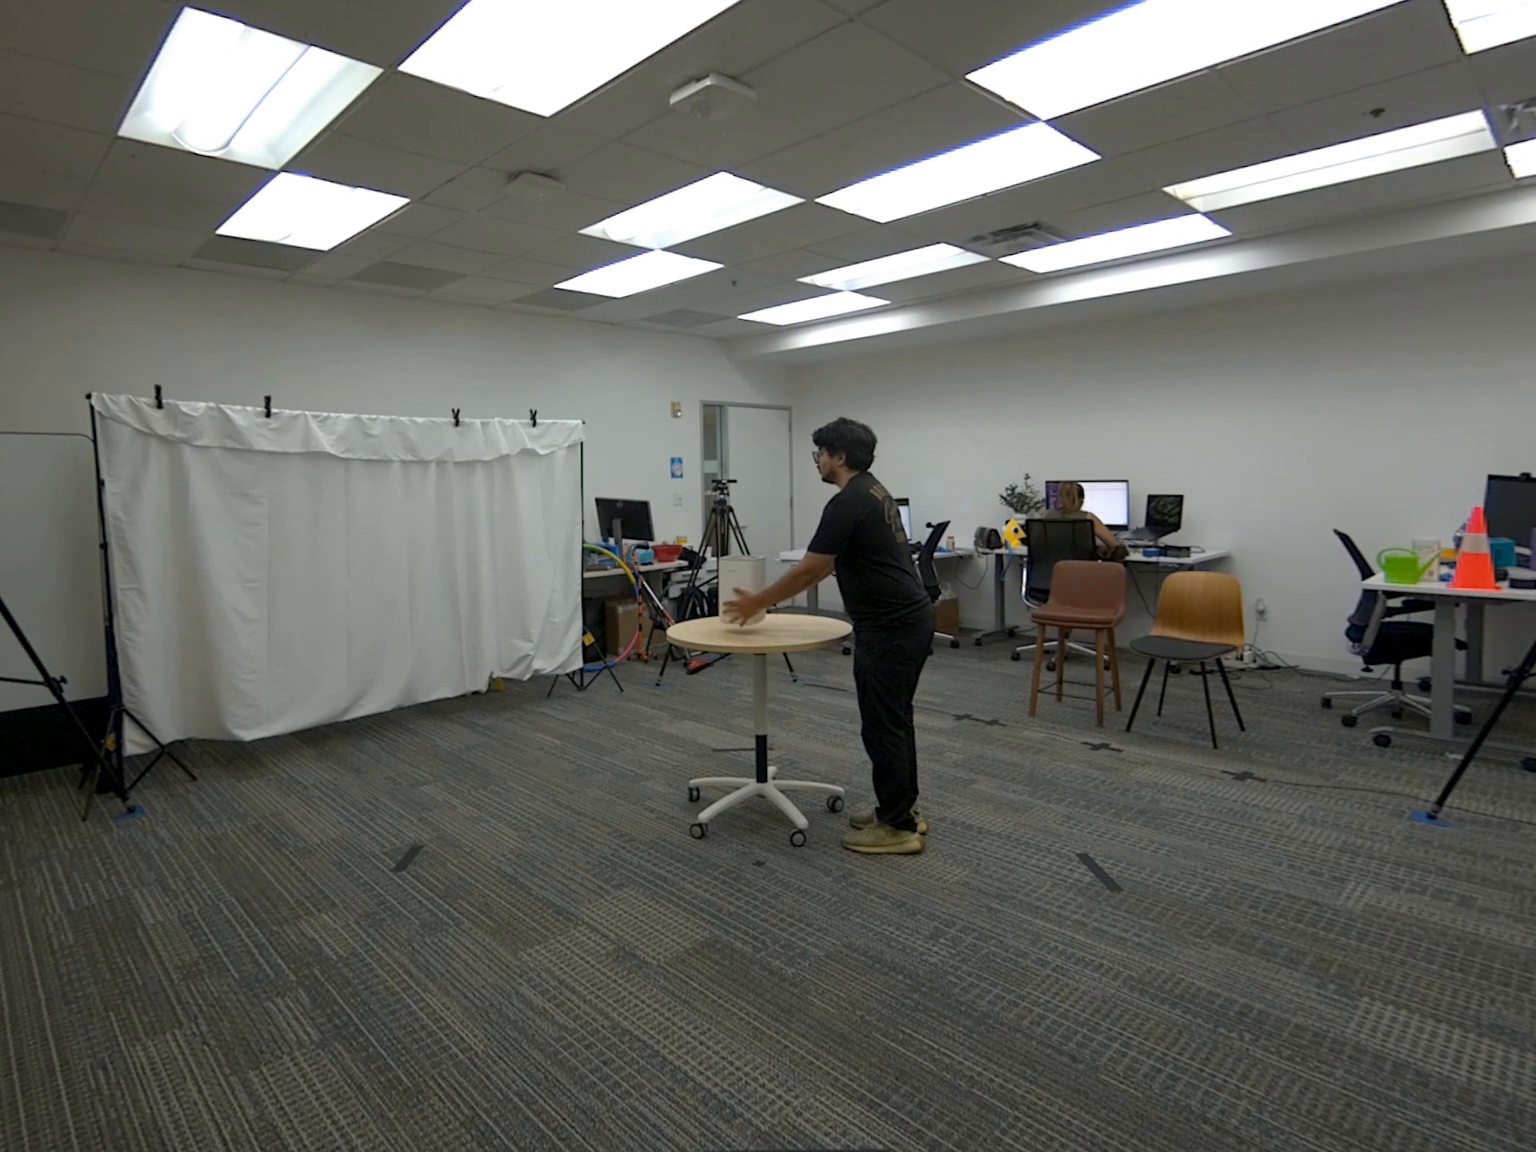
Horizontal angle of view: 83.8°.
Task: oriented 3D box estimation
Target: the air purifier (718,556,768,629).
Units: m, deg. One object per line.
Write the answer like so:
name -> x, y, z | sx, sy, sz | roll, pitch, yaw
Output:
air purifier -> -0.103, 0.050, 3.454 | 0.174, 0.264, 0.169 | 1, 5, 17
